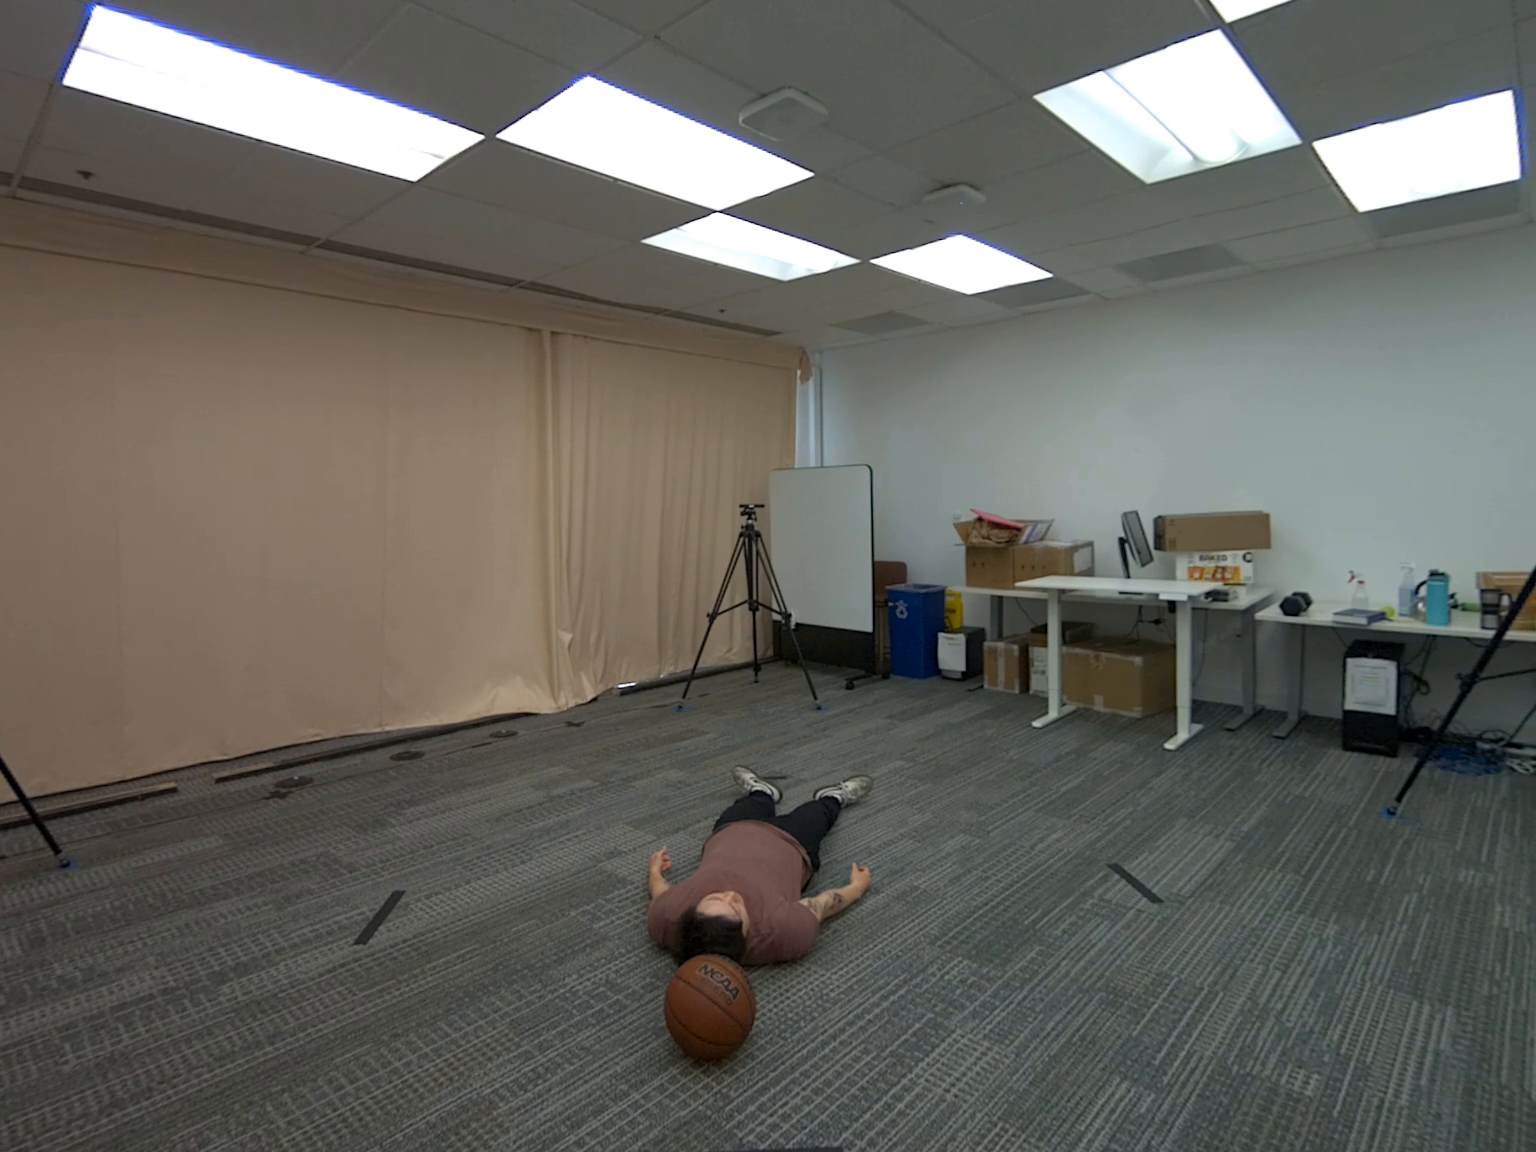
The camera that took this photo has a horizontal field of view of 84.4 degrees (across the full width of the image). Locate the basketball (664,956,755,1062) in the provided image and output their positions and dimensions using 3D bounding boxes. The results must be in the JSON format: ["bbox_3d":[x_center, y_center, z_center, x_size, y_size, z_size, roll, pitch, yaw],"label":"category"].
[{"bbox_3d":[-0.138,1.091,2.149,0.235,0.235,0.237,3,5,-2],"label":"basketball"}]
